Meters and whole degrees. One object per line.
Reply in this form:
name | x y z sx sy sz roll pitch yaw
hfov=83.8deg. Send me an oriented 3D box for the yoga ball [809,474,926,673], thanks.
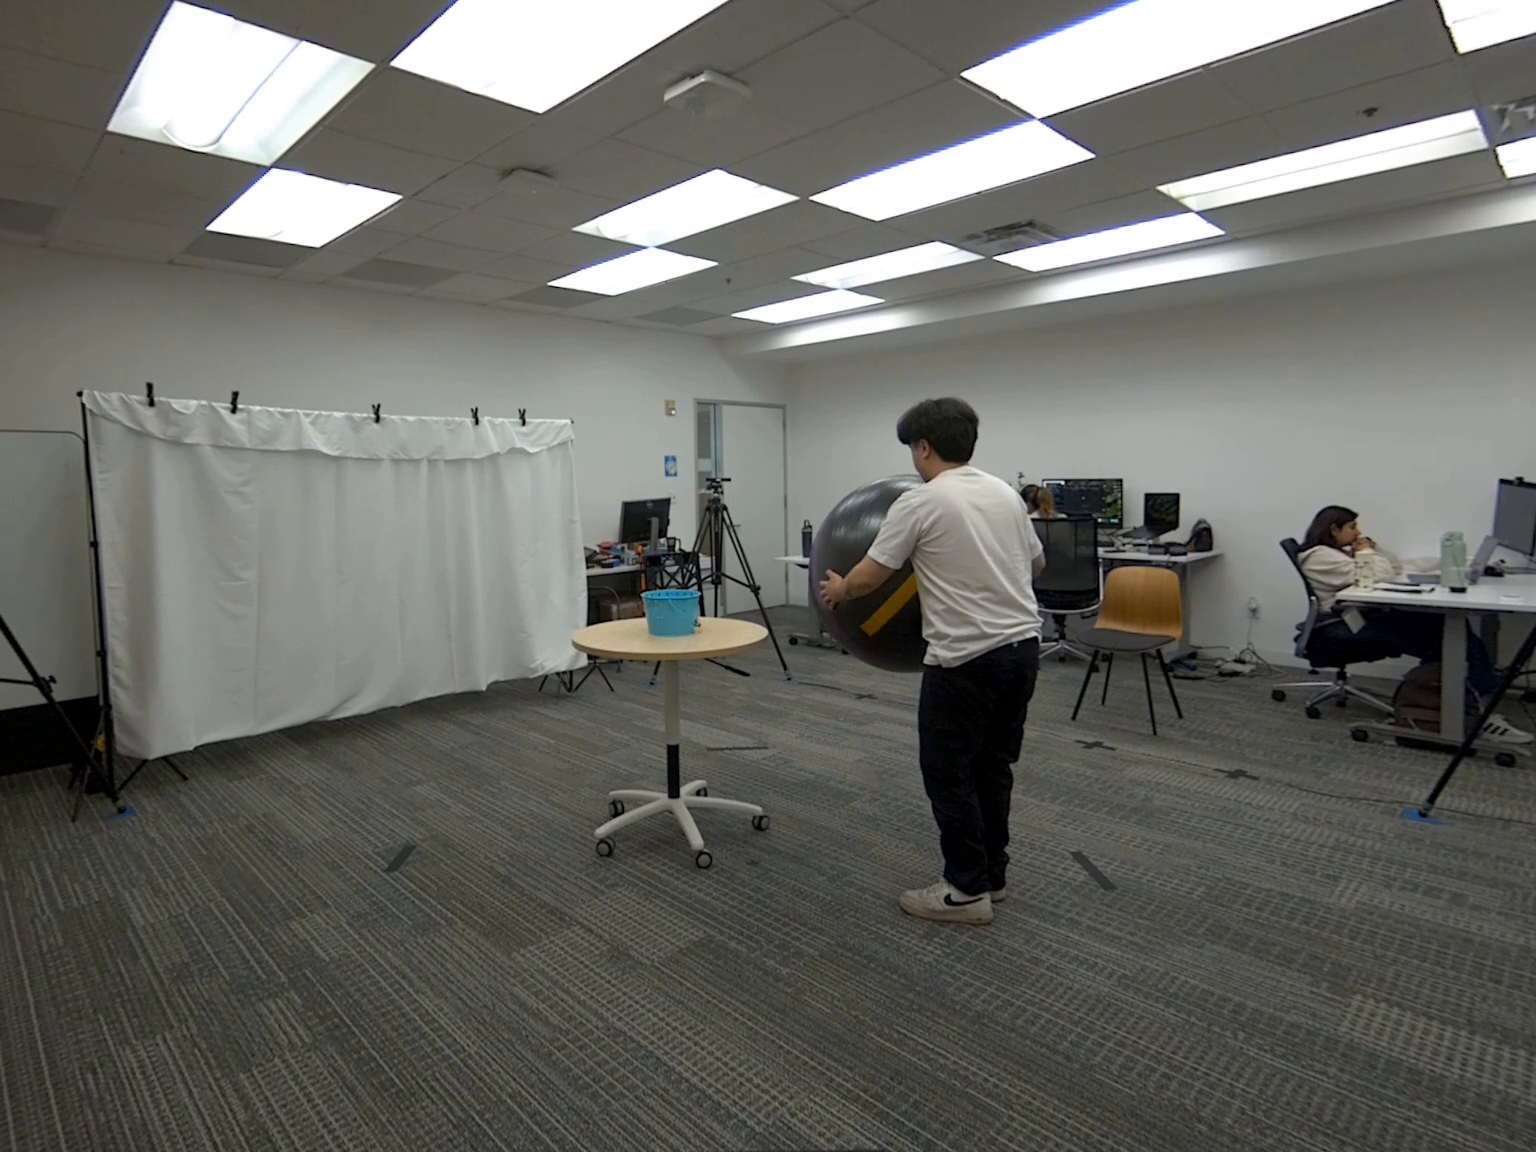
yoga ball | 0.545 -0.012 3.296 0.757 0.755 0.762 -1 5 -2
